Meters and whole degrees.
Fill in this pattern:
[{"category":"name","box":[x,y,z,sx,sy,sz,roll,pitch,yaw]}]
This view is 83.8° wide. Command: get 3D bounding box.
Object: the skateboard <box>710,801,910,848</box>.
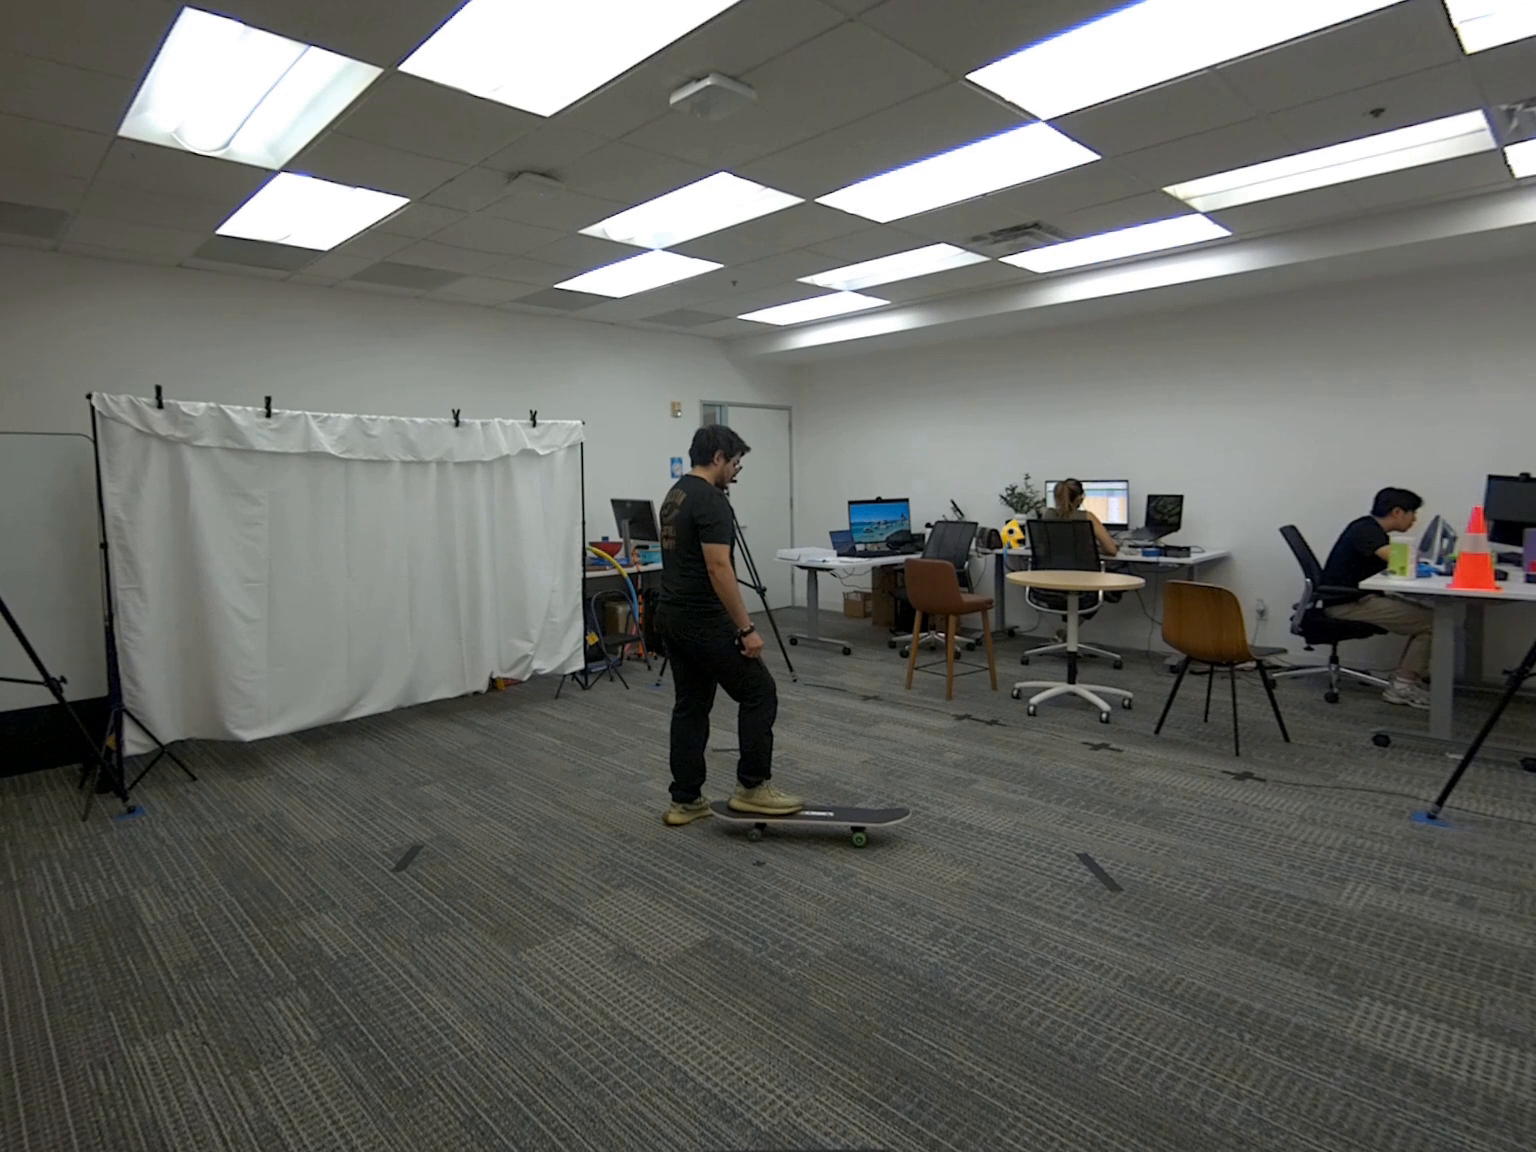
[{"category":"skateboard","box":[0.161,0.960,3.342,0.793,0.110,0.192,-1,3,10]}]
